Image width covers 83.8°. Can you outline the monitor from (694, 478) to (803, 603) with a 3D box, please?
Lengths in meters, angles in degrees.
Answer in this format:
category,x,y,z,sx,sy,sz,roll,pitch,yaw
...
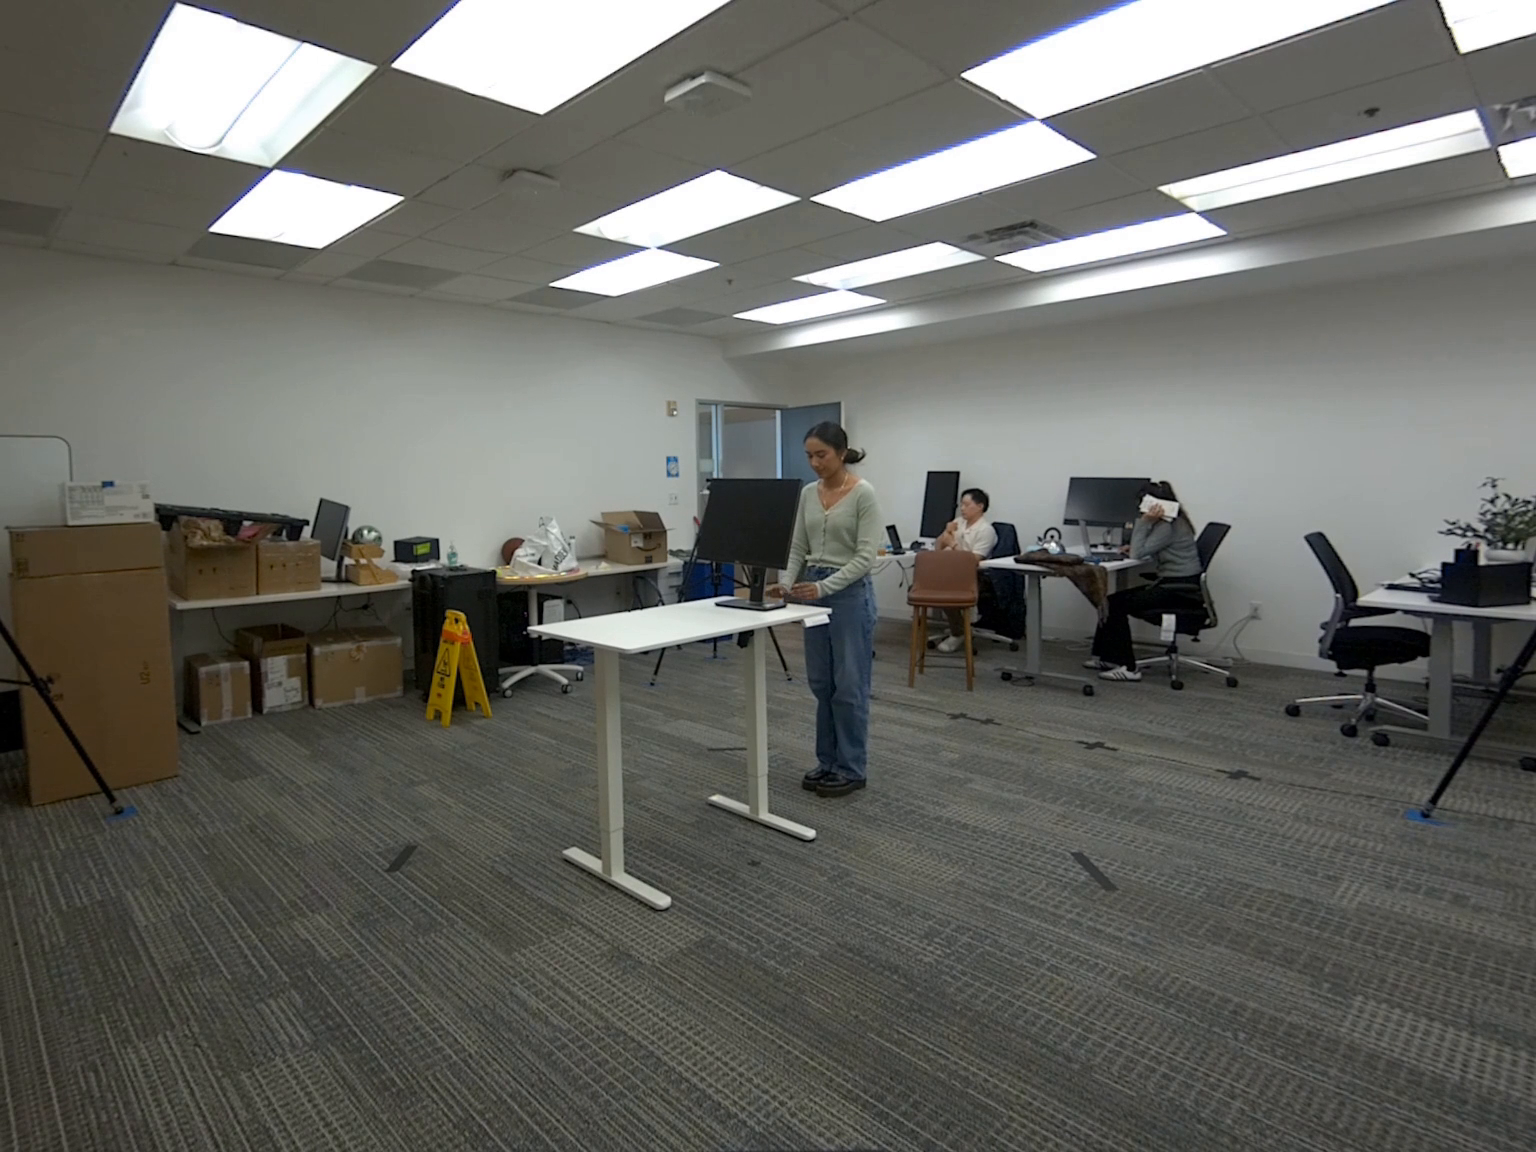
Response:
category,x,y,z,sx,sy,sz,roll,pitch,yaw
monitor,-0.065,-0.131,3.445,0.182,0.521,0.556,-2,5,-43
